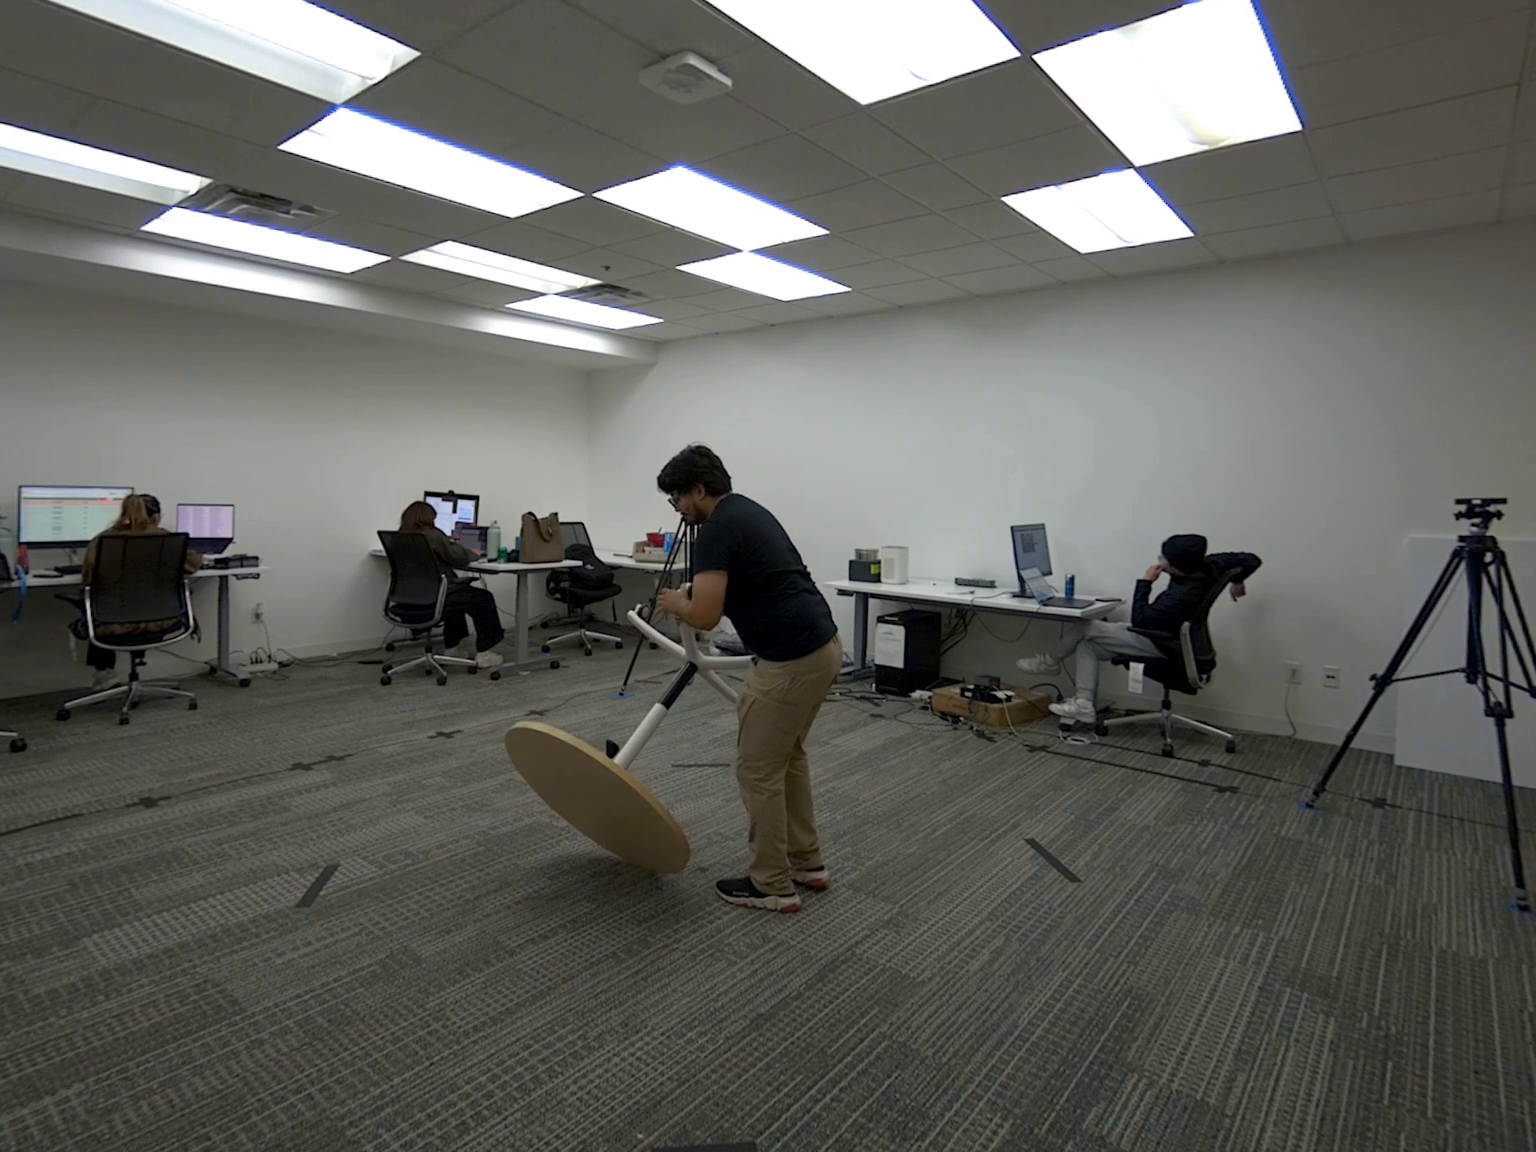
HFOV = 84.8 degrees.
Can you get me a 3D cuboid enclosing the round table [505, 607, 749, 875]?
[{"bbox_3d":[-0.439,0.514,3.165,0.811,0.758,0.788,4,42,37],"label":"round table"}]
